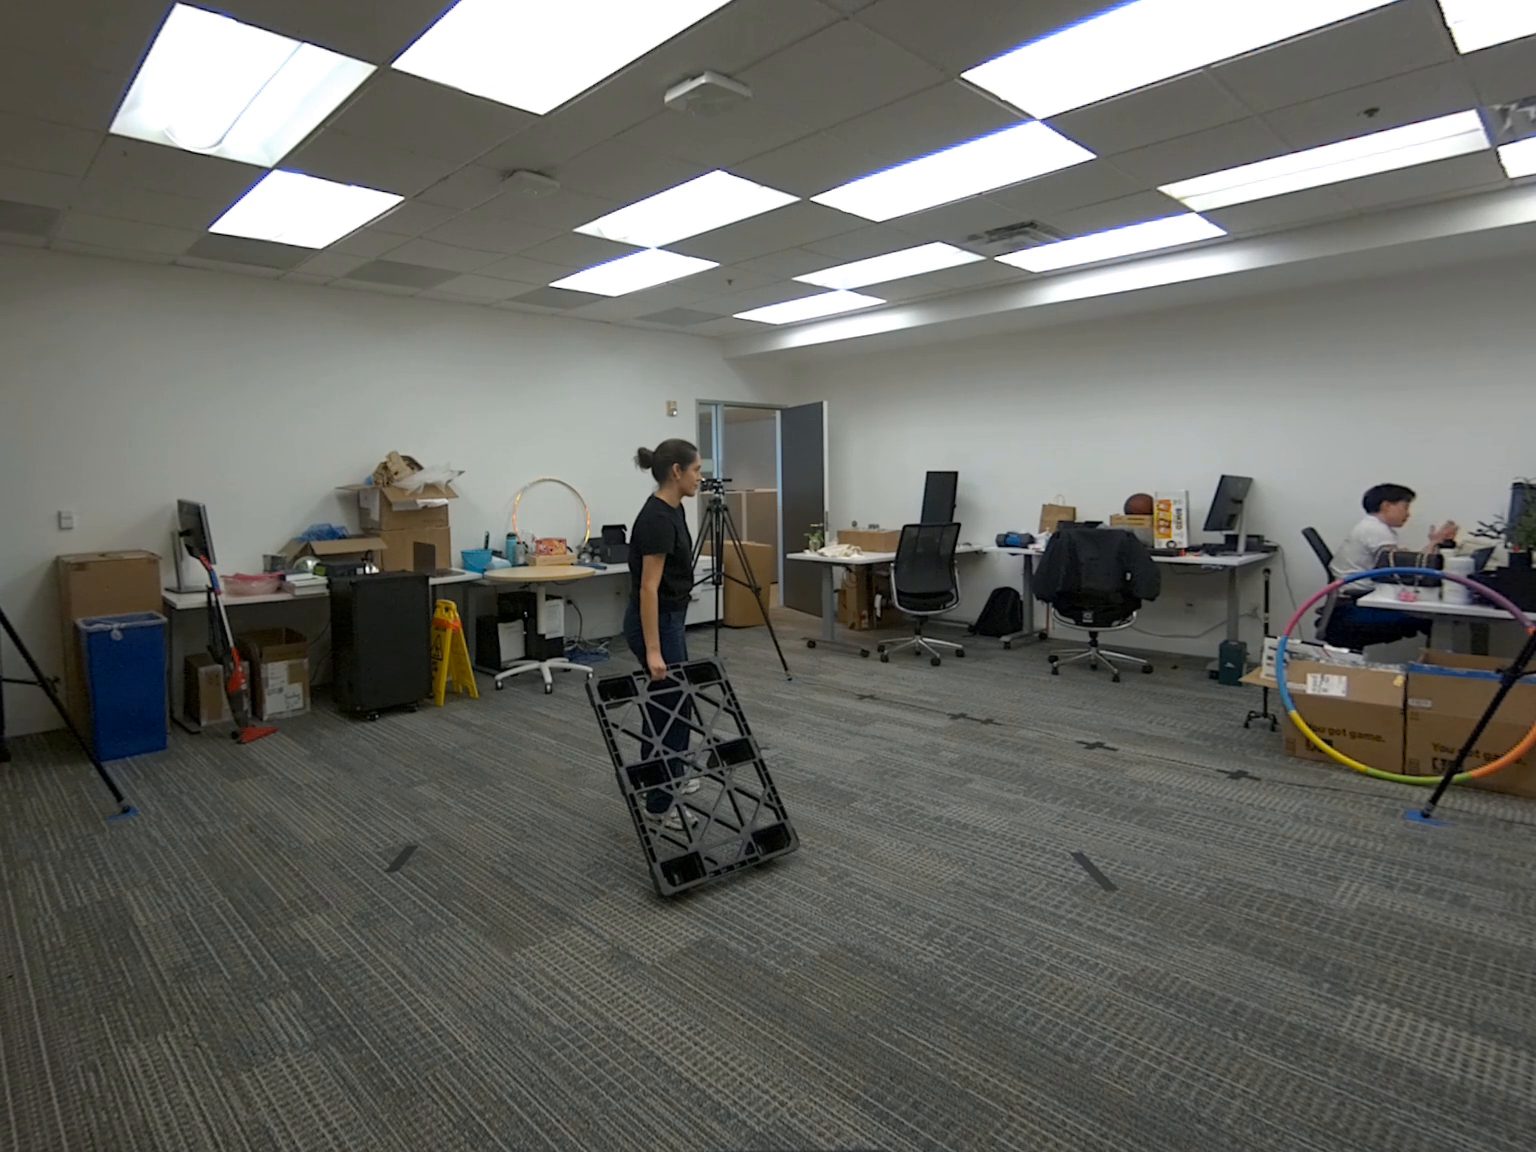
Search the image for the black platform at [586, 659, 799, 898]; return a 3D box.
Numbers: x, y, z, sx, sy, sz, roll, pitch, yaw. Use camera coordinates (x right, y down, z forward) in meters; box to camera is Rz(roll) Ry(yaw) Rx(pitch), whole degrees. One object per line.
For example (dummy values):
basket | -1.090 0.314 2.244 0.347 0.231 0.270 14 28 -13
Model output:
black platform | -0.296 0.706 3.172 0.589 0.829 0.143 -4 -33 -38
